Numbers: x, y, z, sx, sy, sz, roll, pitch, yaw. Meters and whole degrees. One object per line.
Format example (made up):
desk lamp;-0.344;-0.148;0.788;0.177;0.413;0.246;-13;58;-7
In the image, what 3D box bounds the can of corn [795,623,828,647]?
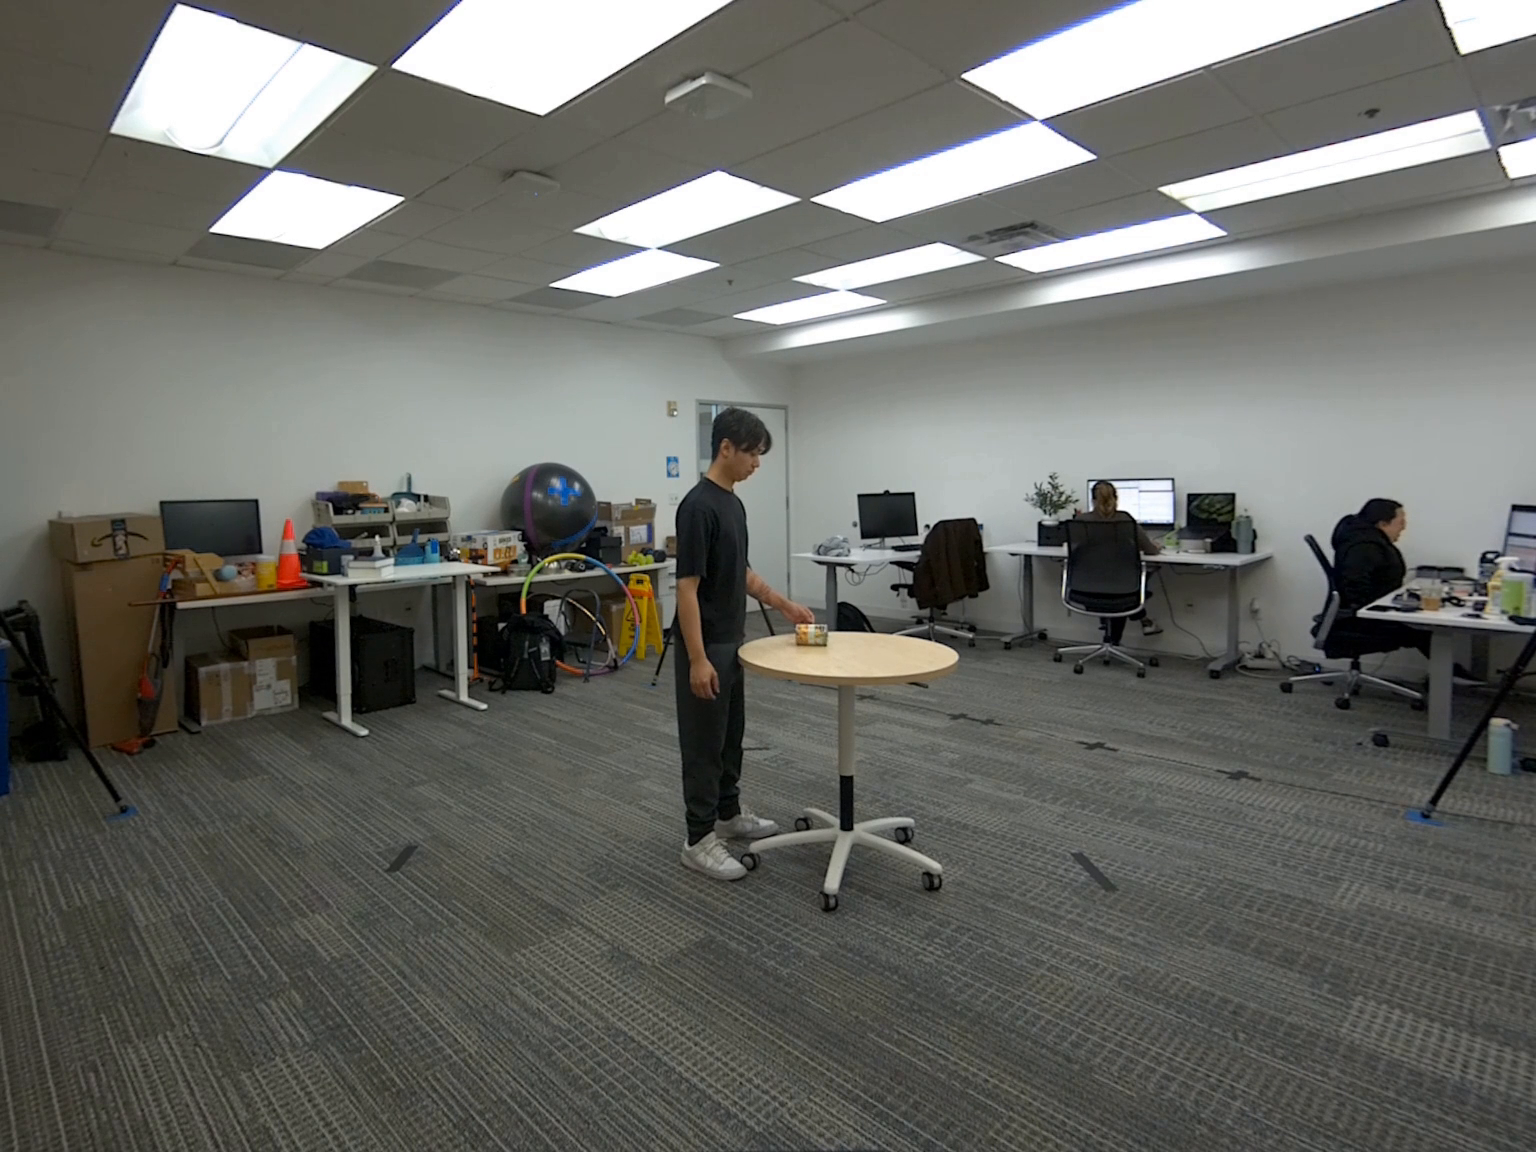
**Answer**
can of corn;0.158;0.215;3.142;0.112;0.074;0.074;-1;5;8
